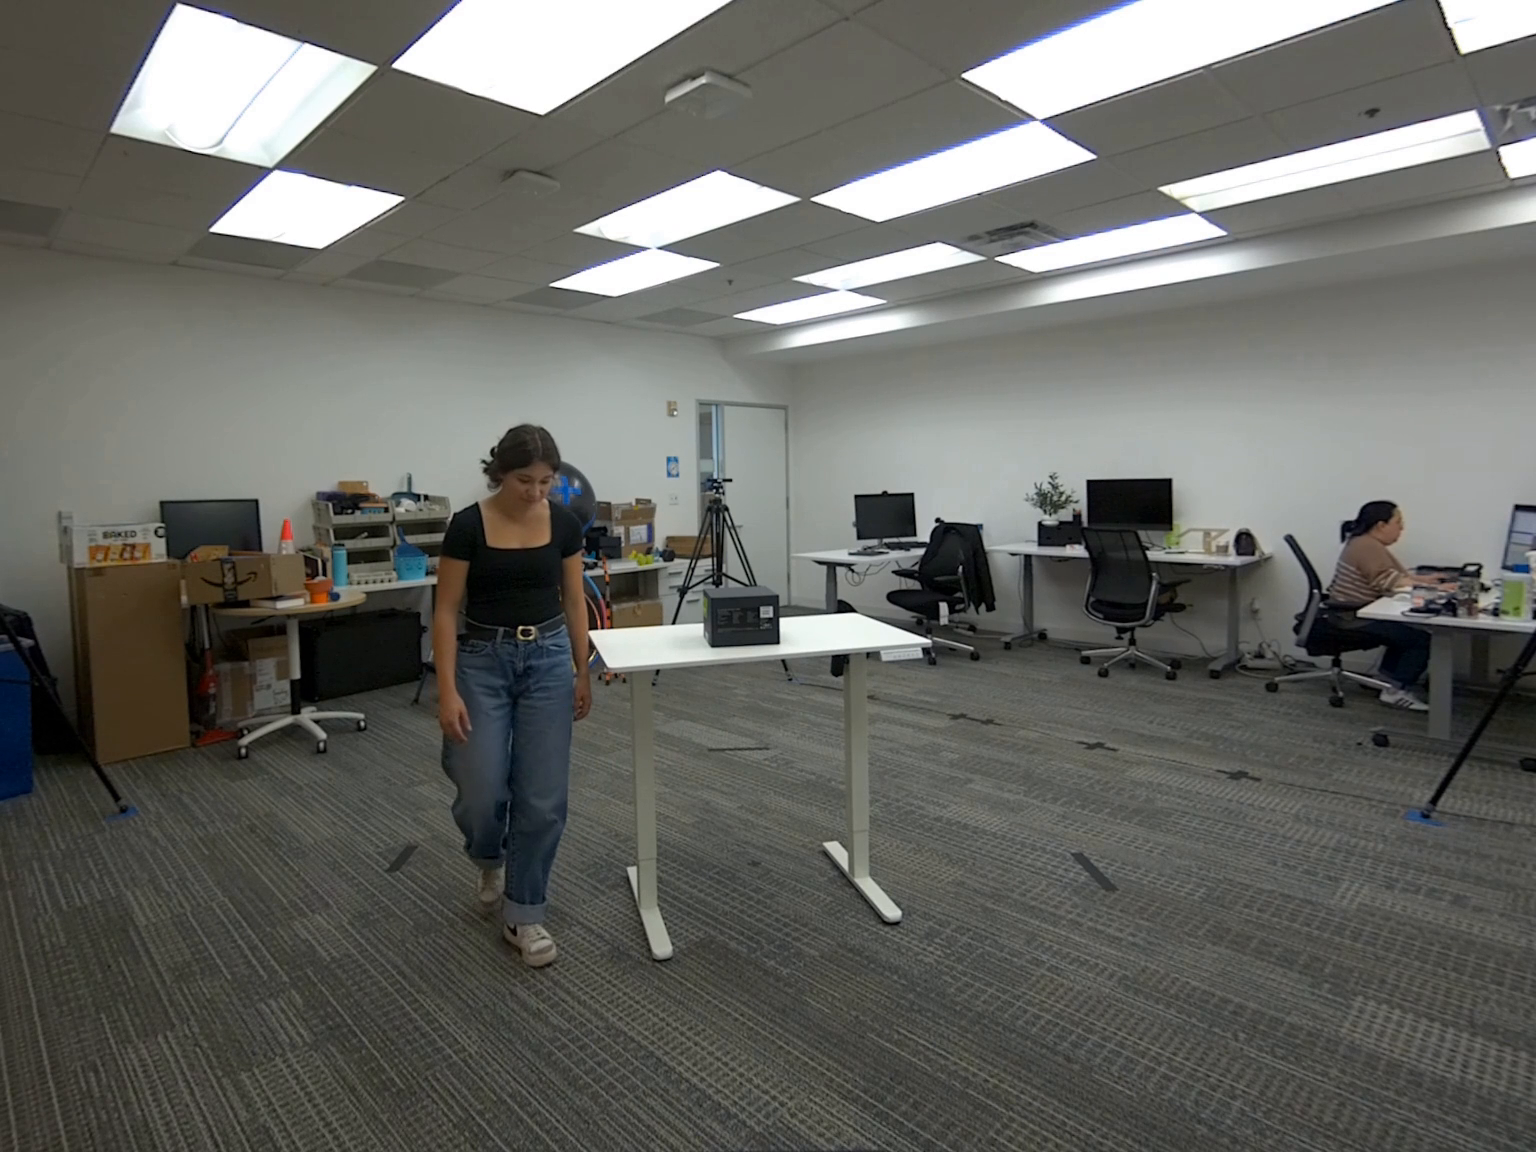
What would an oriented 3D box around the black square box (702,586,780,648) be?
[{"bbox_3d":[-0.090,0.118,2.744,0.216,0.155,0.230,0,5,-7],"label":"black square box"}]
